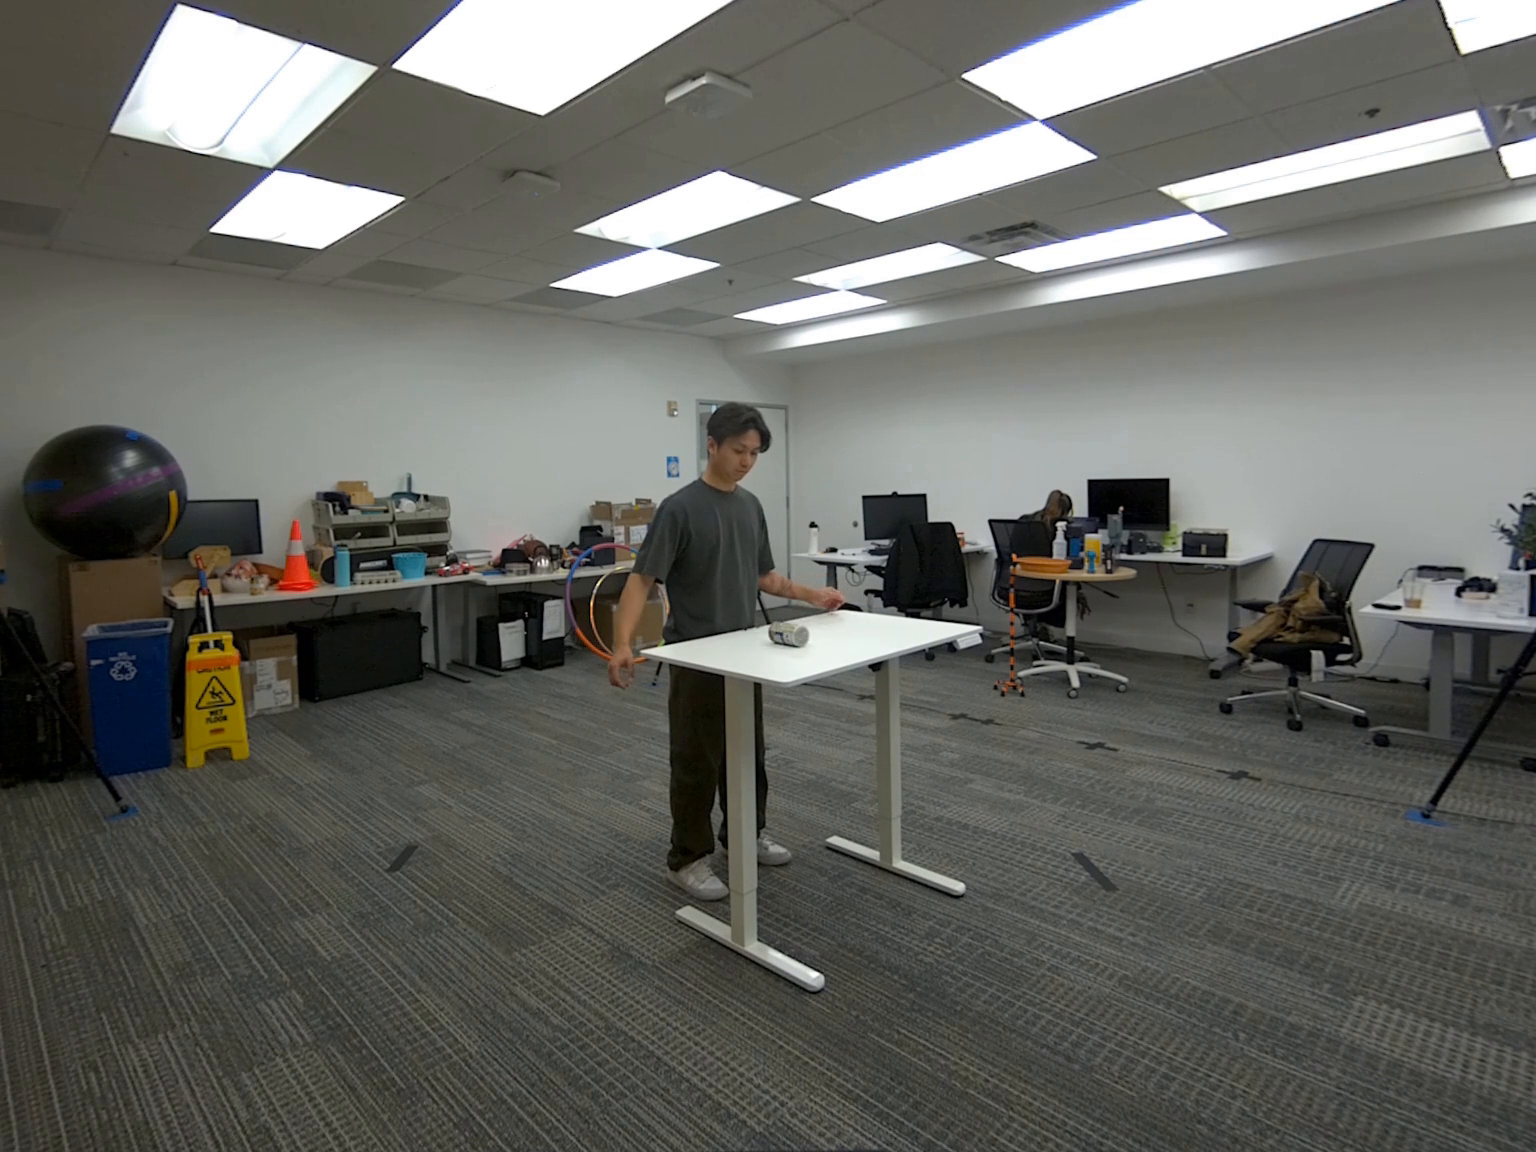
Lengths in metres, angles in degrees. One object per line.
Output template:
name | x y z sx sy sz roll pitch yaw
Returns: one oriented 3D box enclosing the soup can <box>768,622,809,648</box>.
soup can | 0.053 0.183 2.652 0.065 0.067 0.125 -5 6 -41
